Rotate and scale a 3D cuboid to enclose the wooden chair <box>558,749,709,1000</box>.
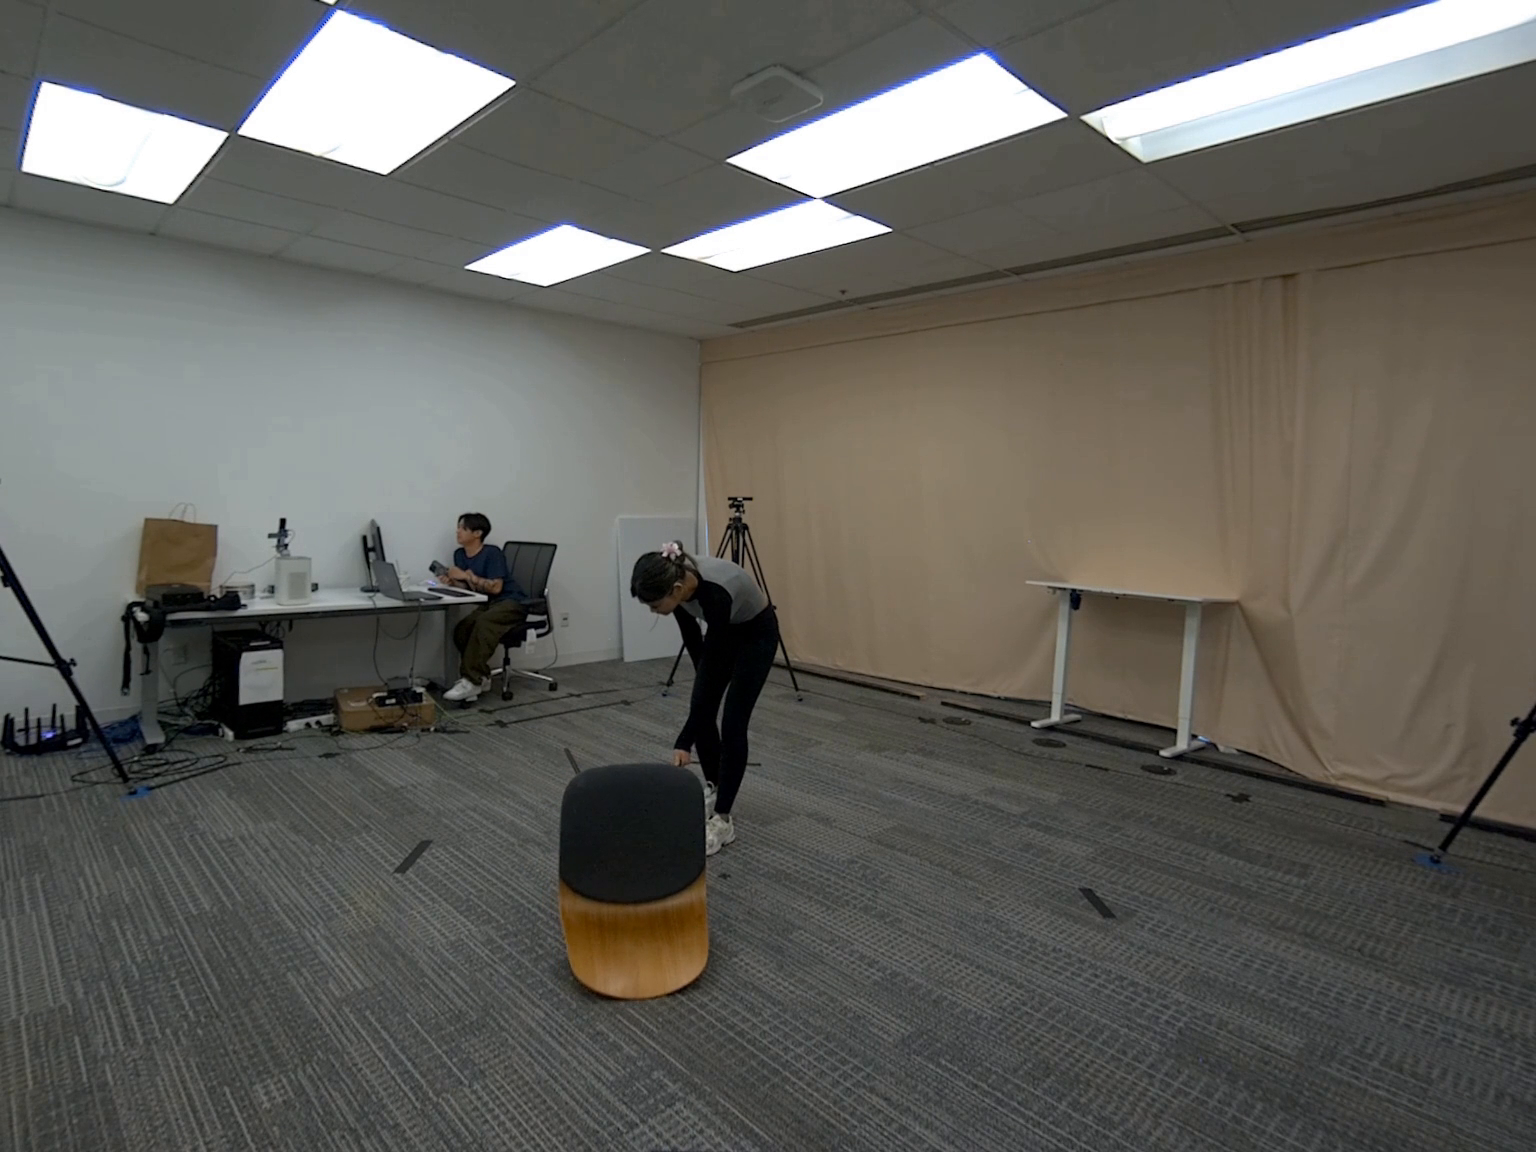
[{"bbox_3d":[-0.447,0.873,2.736,0.474,0.521,0.888,0,6,-11],"label":"wooden chair"}]
